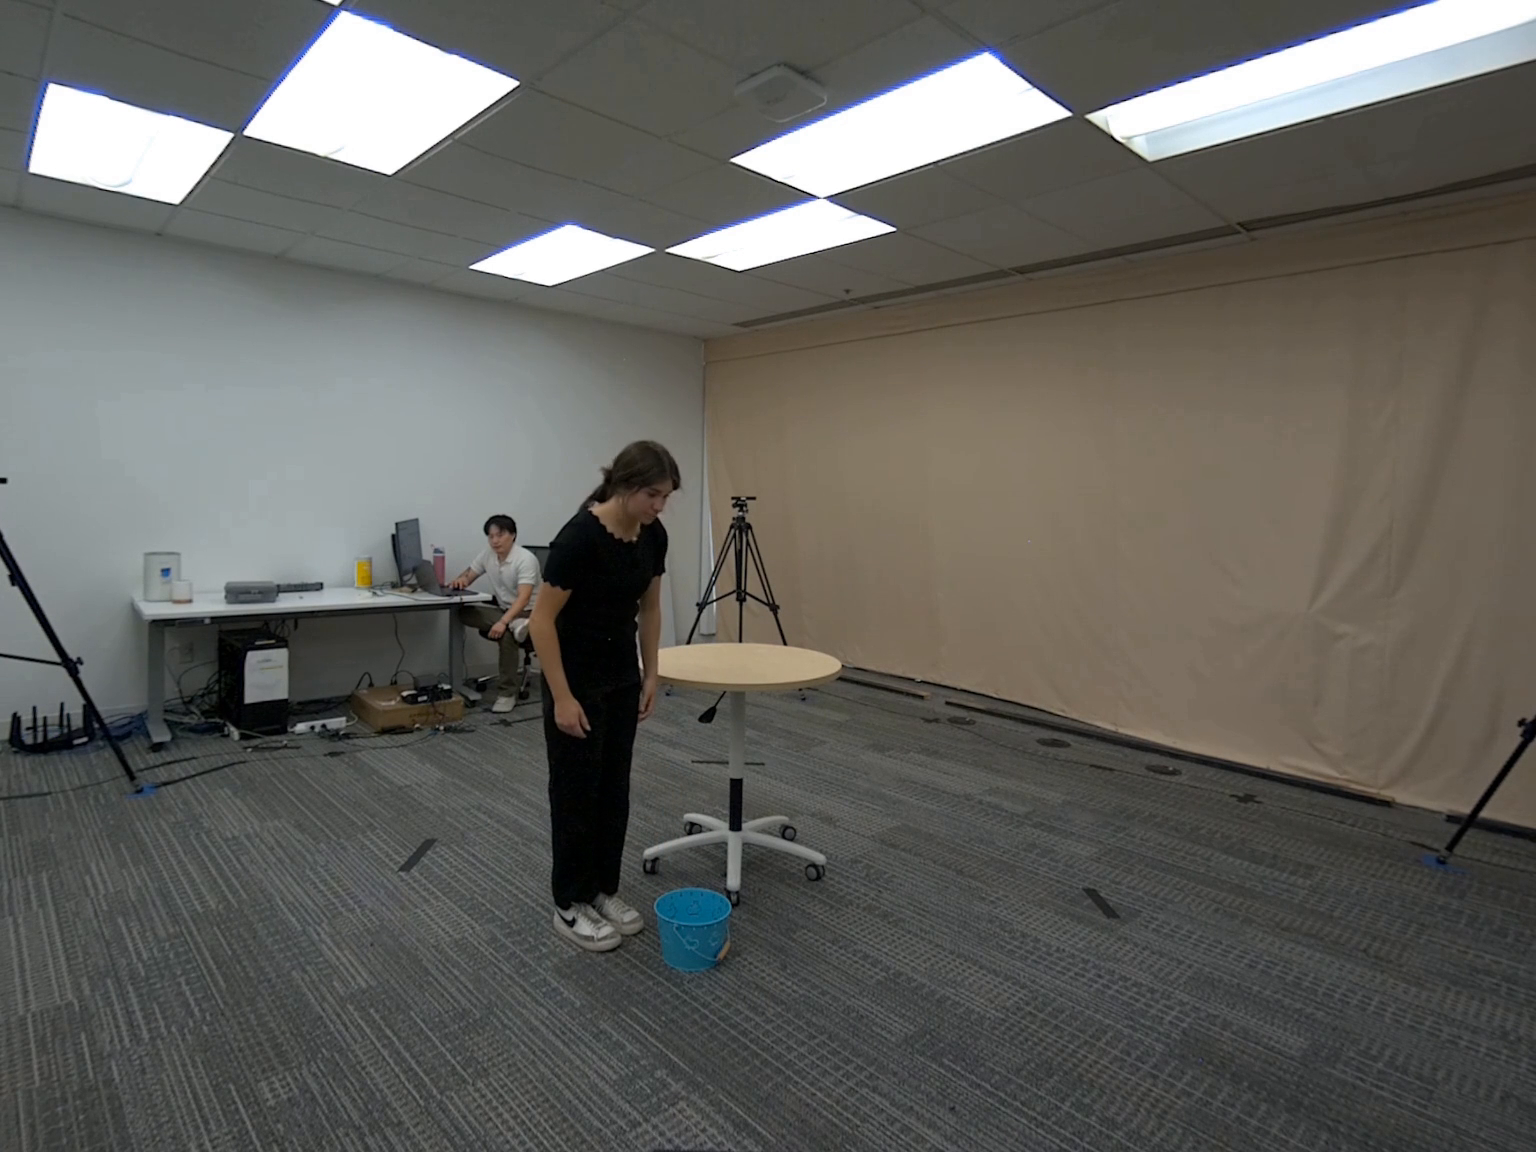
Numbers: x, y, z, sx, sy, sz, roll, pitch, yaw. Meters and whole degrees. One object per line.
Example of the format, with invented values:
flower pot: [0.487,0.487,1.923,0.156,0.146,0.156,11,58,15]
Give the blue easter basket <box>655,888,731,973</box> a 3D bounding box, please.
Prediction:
blue easter basket: [-0.245,1.076,2.549,0.243,0.155,0.244,1,4,-1]
